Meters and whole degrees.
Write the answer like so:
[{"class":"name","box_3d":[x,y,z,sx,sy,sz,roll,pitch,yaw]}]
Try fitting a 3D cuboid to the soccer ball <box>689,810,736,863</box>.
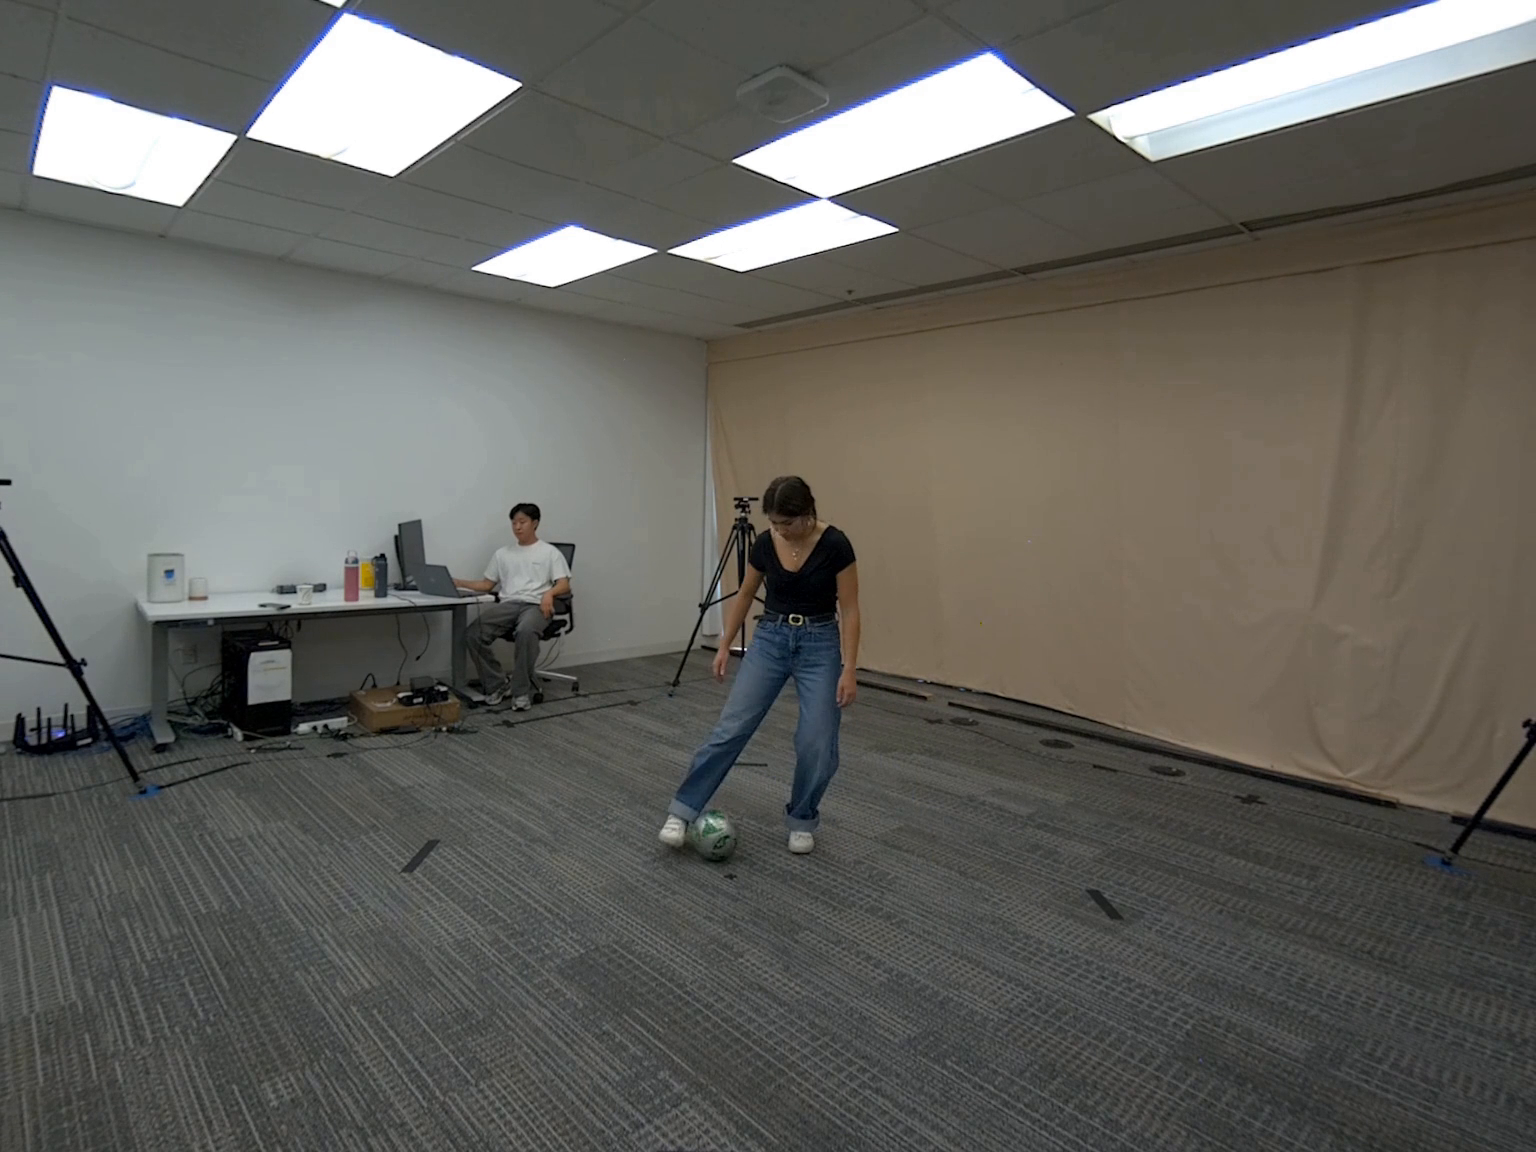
[{"class":"soccer ball","box_3d":[-0.189,1.005,3.245,0.187,0.187,0.188,1,4,-1]}]
